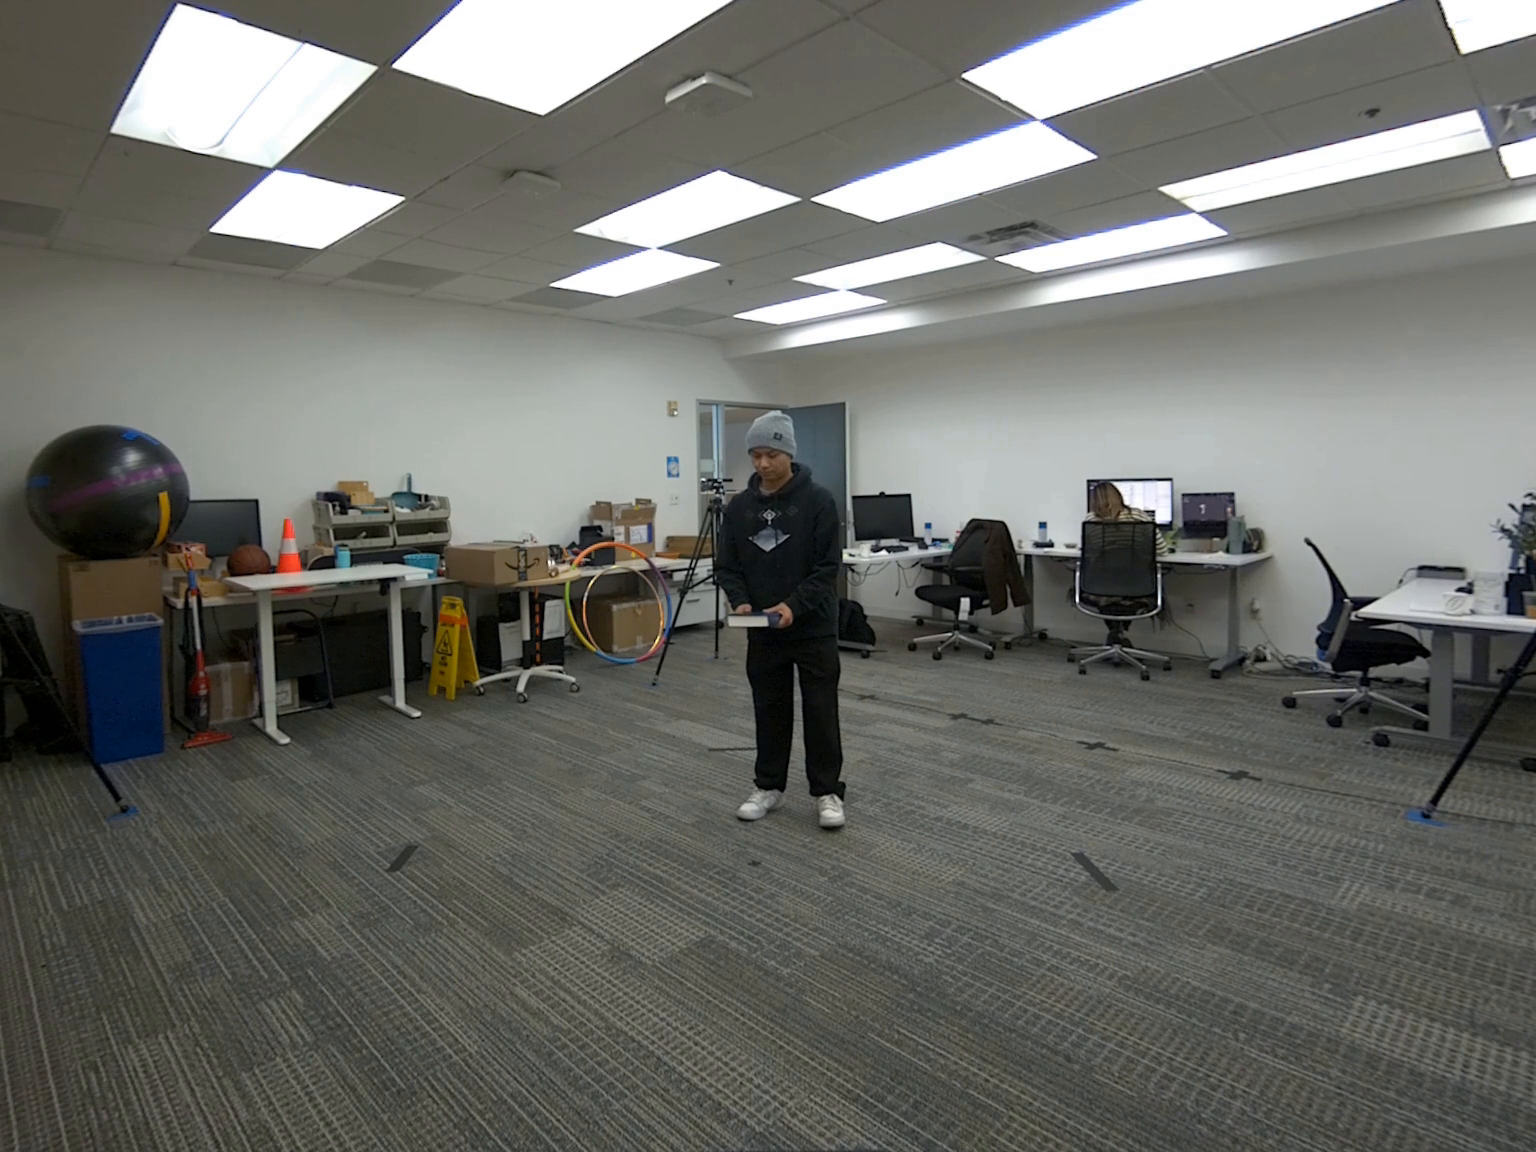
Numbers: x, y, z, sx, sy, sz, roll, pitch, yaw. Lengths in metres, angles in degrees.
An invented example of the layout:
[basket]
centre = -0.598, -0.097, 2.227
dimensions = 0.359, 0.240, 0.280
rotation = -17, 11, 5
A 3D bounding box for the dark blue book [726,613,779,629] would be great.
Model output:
[dark blue book]
centre = -0.044, 0.174, 3.282
dimensions = 0.166, 0.045, 0.240
rotation = -1, 1, 20
